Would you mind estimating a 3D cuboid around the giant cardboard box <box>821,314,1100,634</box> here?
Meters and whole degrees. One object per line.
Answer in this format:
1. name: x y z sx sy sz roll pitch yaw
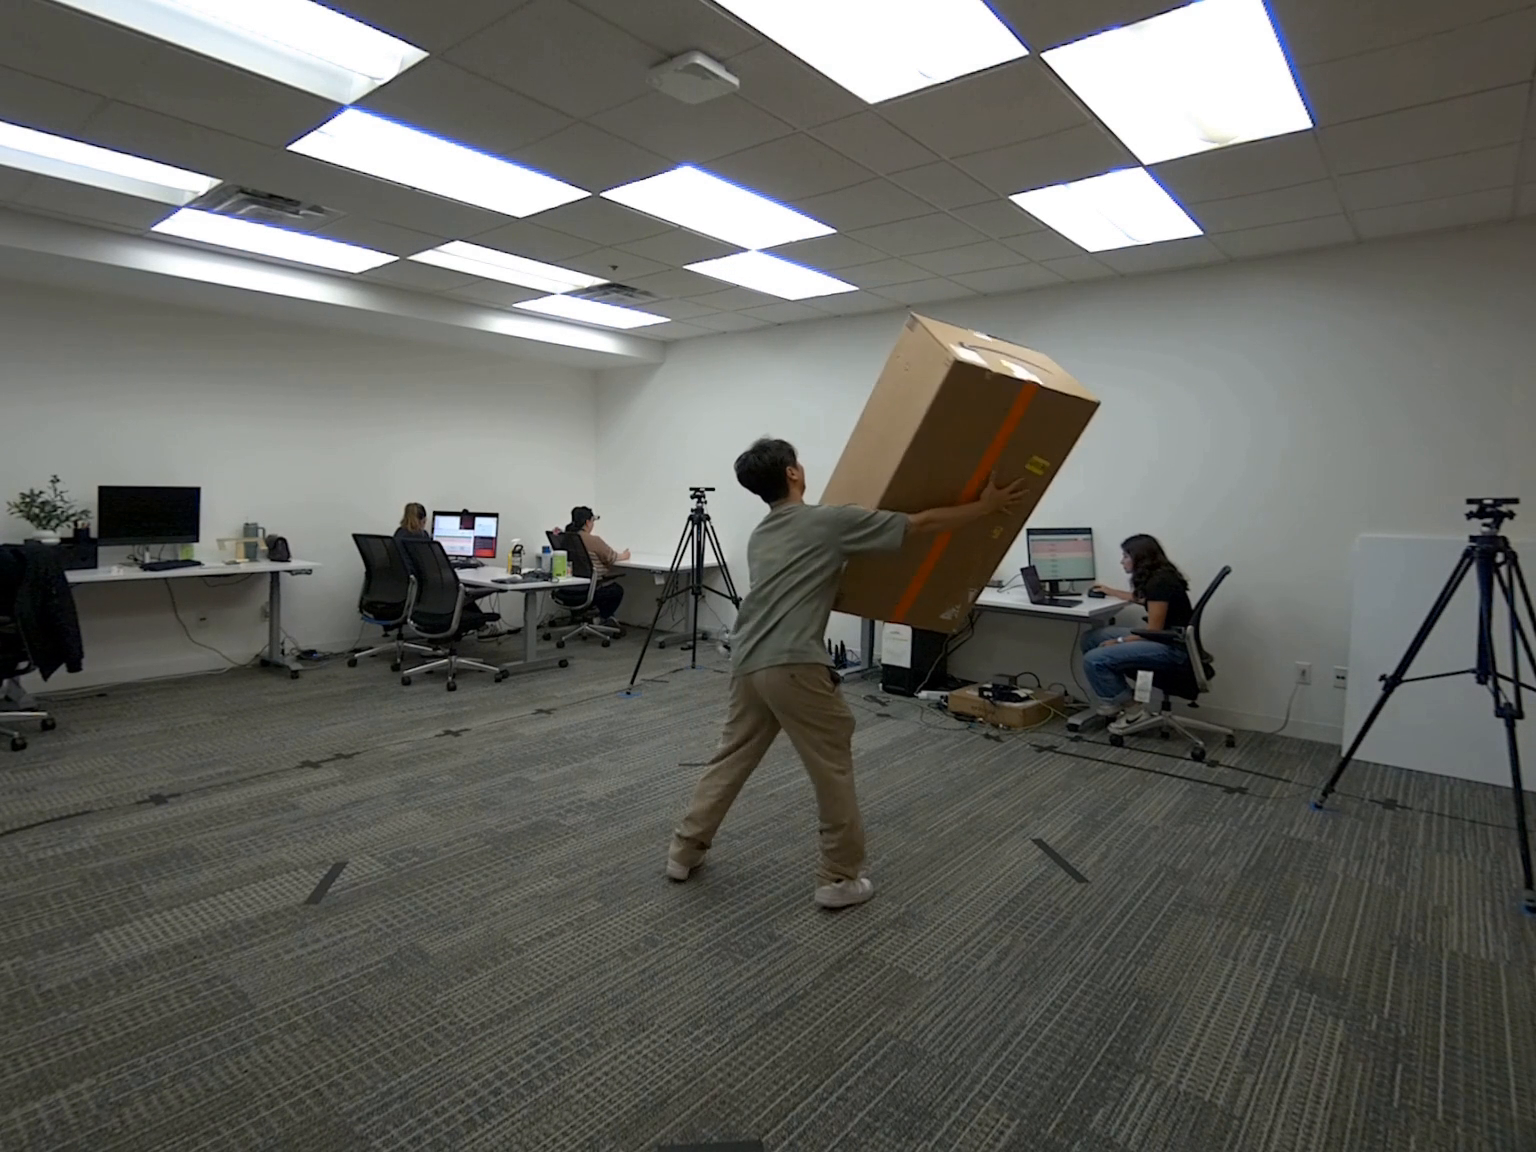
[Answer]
1. giant cardboard box: 0.590 -0.365 3.128 0.565 1.014 0.441 14 32 -19
